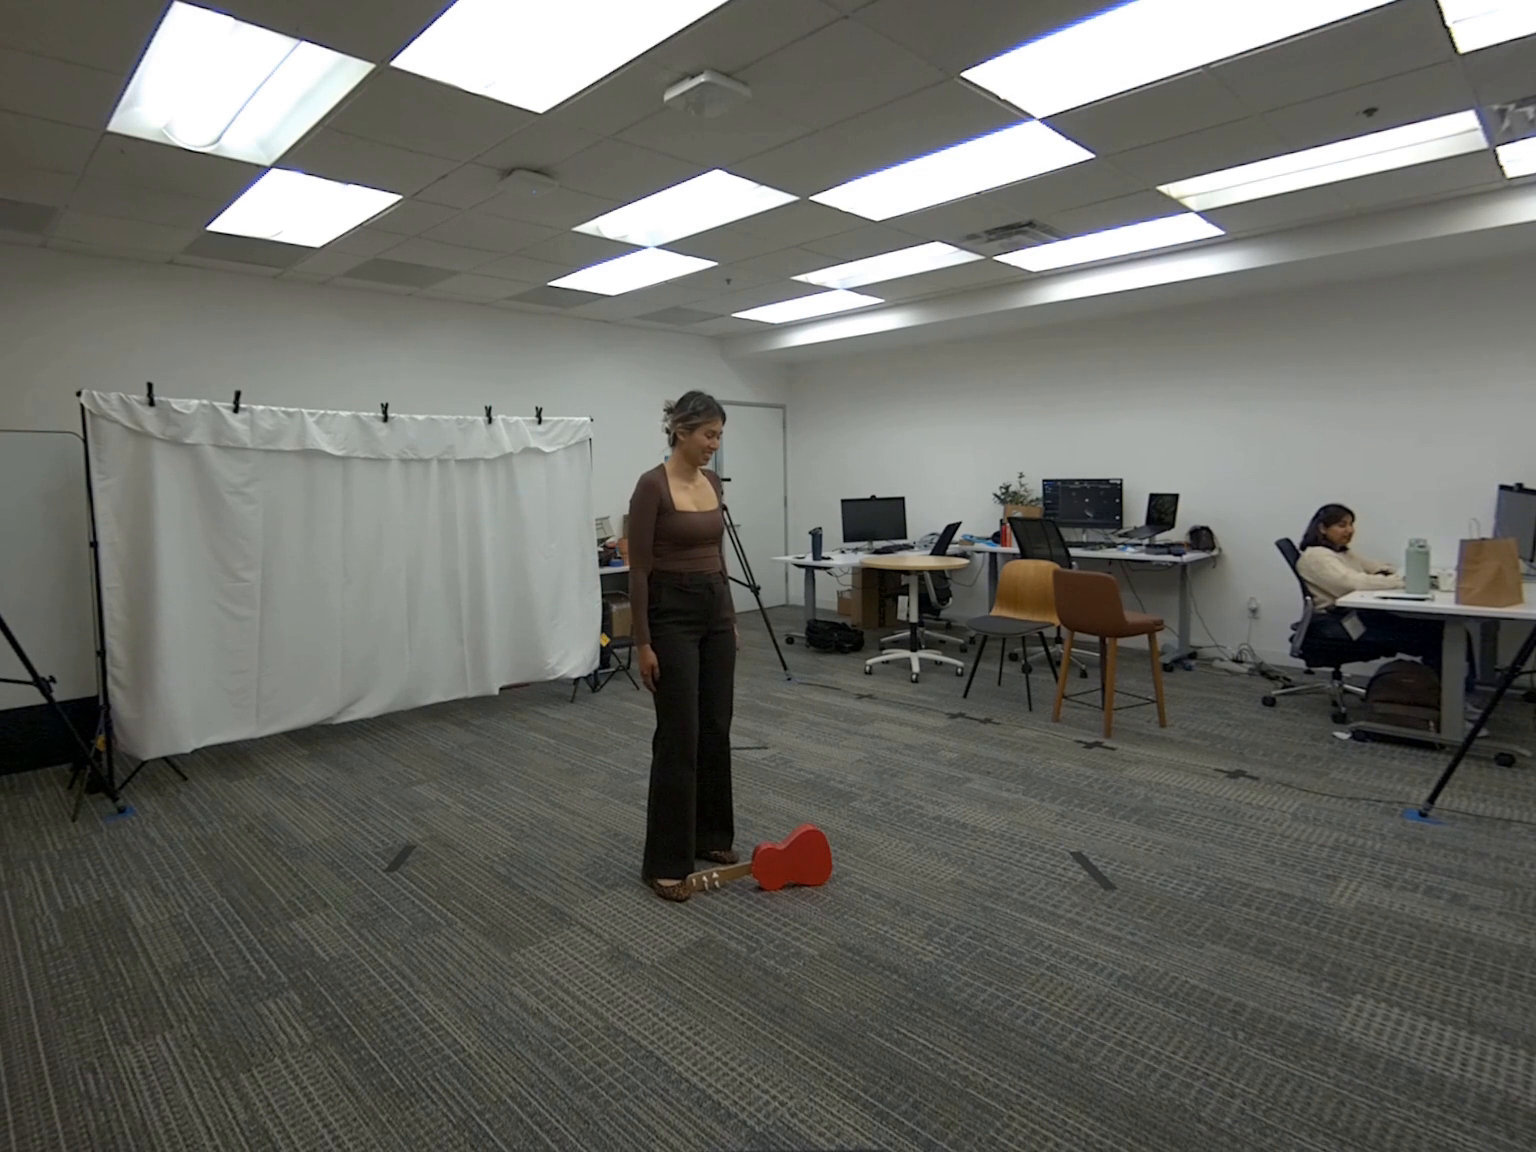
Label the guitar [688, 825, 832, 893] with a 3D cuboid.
[{"bbox_3d":[-0.018,1.019,2.910,0.495,0.192,0.071,-21,5,-10],"label":"guitar"}]
